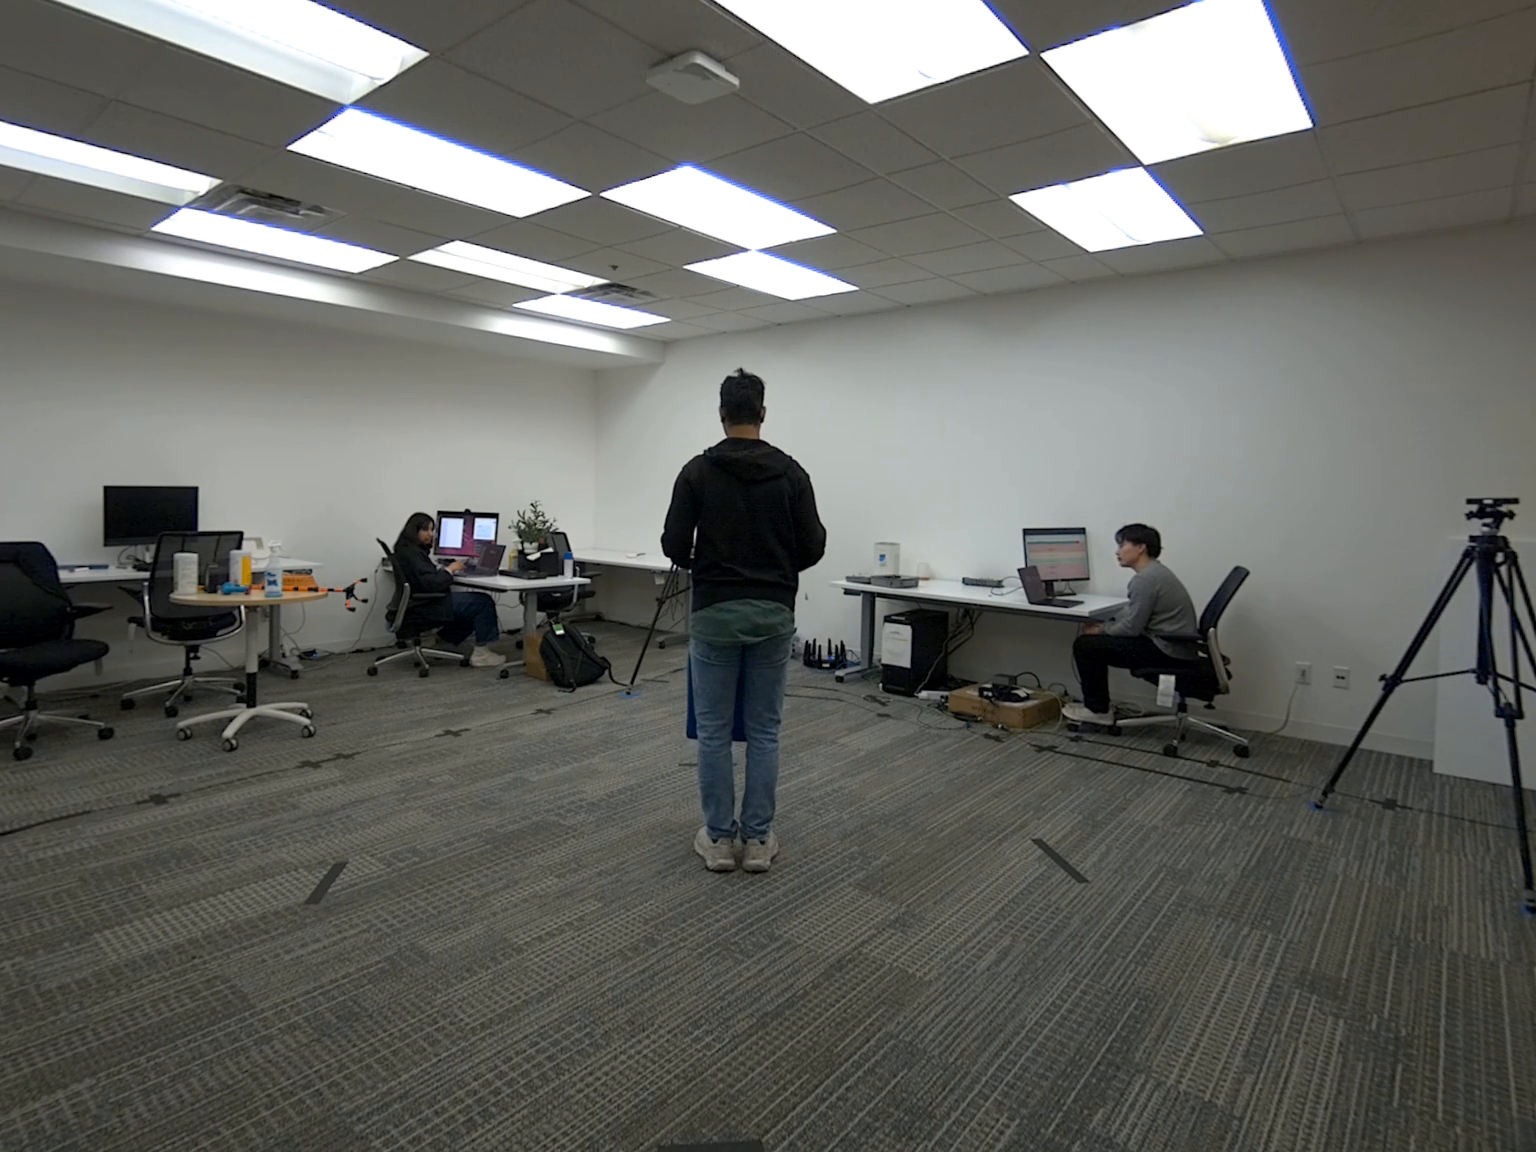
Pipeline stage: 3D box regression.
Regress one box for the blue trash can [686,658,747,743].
[{"bbox_3d":[-0.163,0.287,3.475,0.374,0.712,0.379,4,2,-1],"label":"blue trash can"}]
